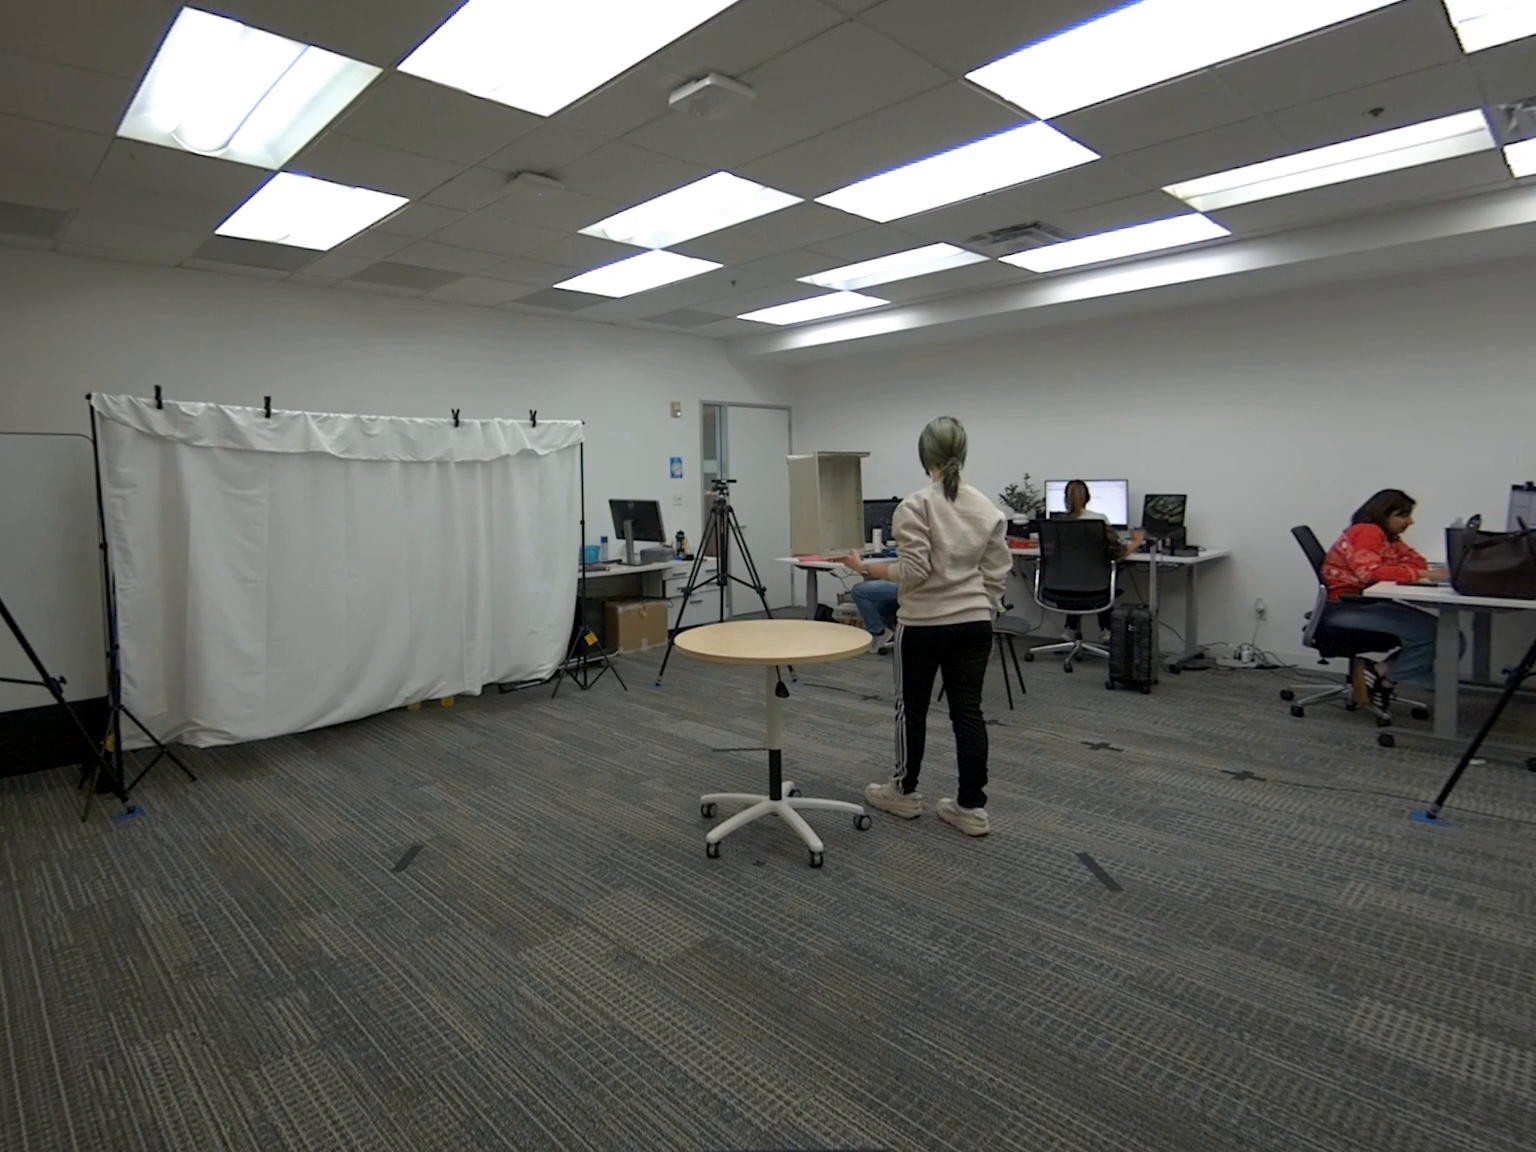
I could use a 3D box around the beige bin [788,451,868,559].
[{"bbox_3d":[0.273,-0.301,3.507,0.368,0.421,0.194,-7,4,-41],"label":"beige bin"}]
